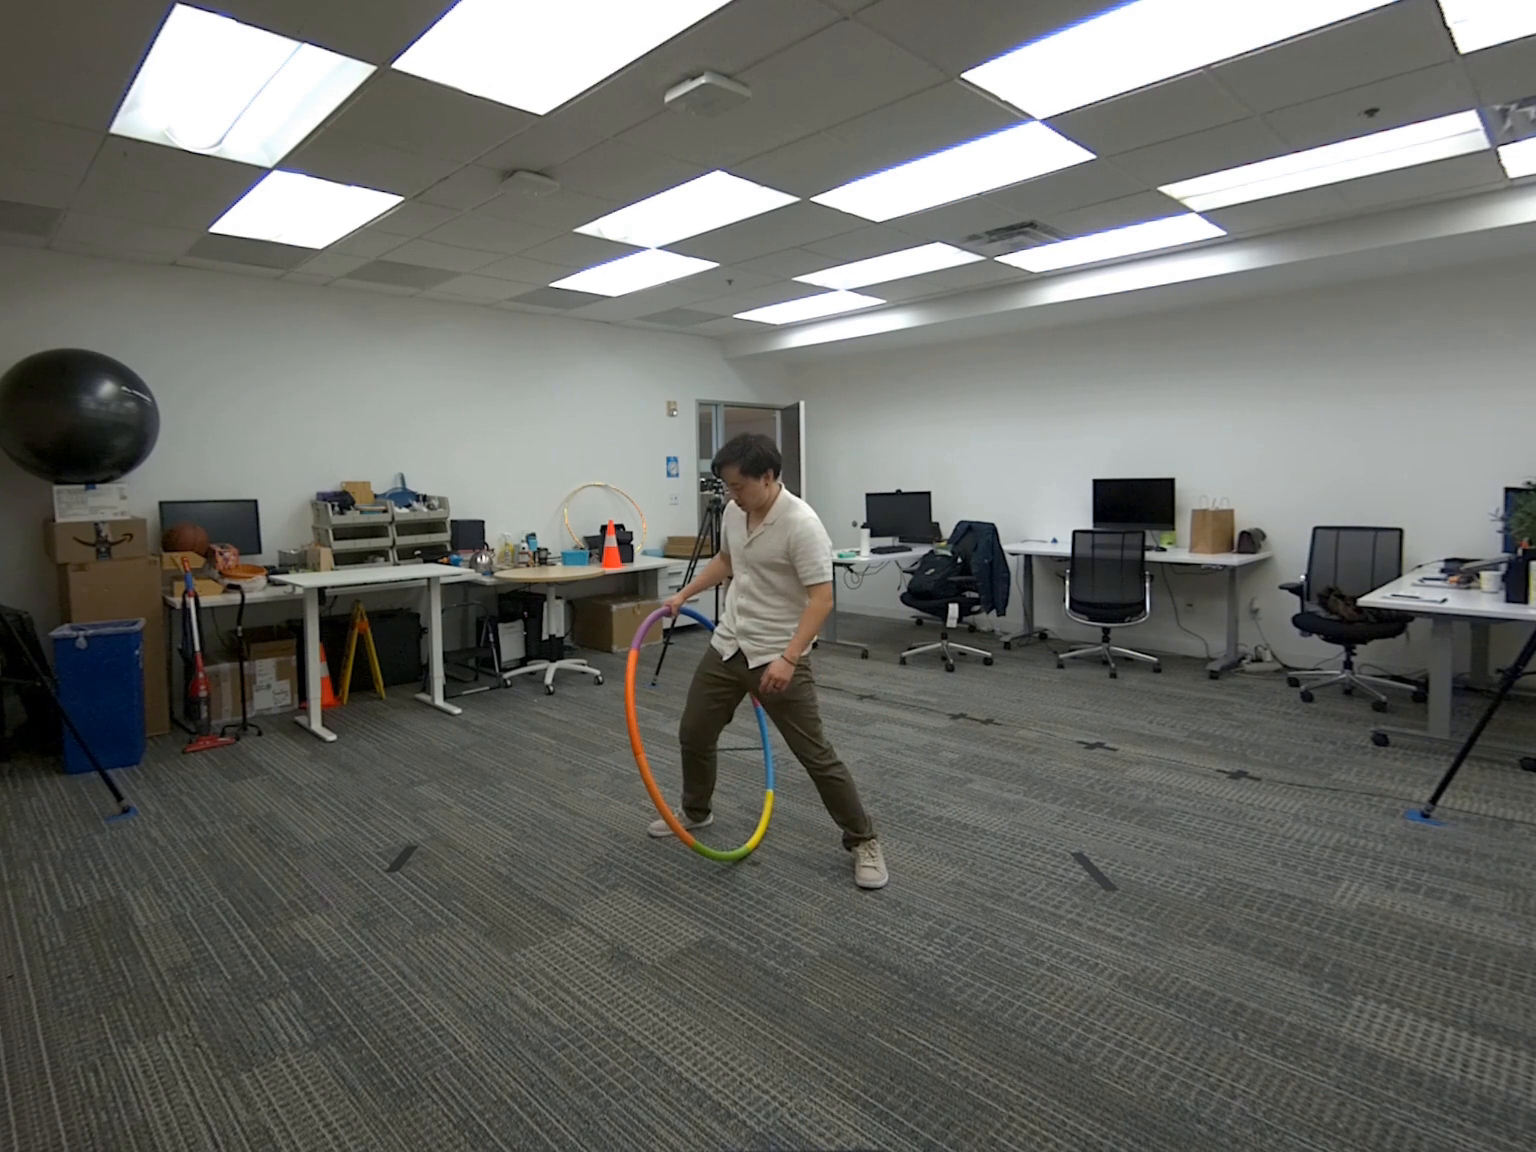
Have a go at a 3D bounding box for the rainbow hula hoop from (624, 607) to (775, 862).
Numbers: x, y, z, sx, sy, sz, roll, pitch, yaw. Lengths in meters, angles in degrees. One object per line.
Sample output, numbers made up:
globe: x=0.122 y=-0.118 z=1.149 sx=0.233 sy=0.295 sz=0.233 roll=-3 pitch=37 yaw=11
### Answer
rainbow hula hoop: x=-0.228 y=0.576 z=3.262 sx=0.036 sy=0.985 sz=0.962 roll=-24 pitch=-5 yaw=22
